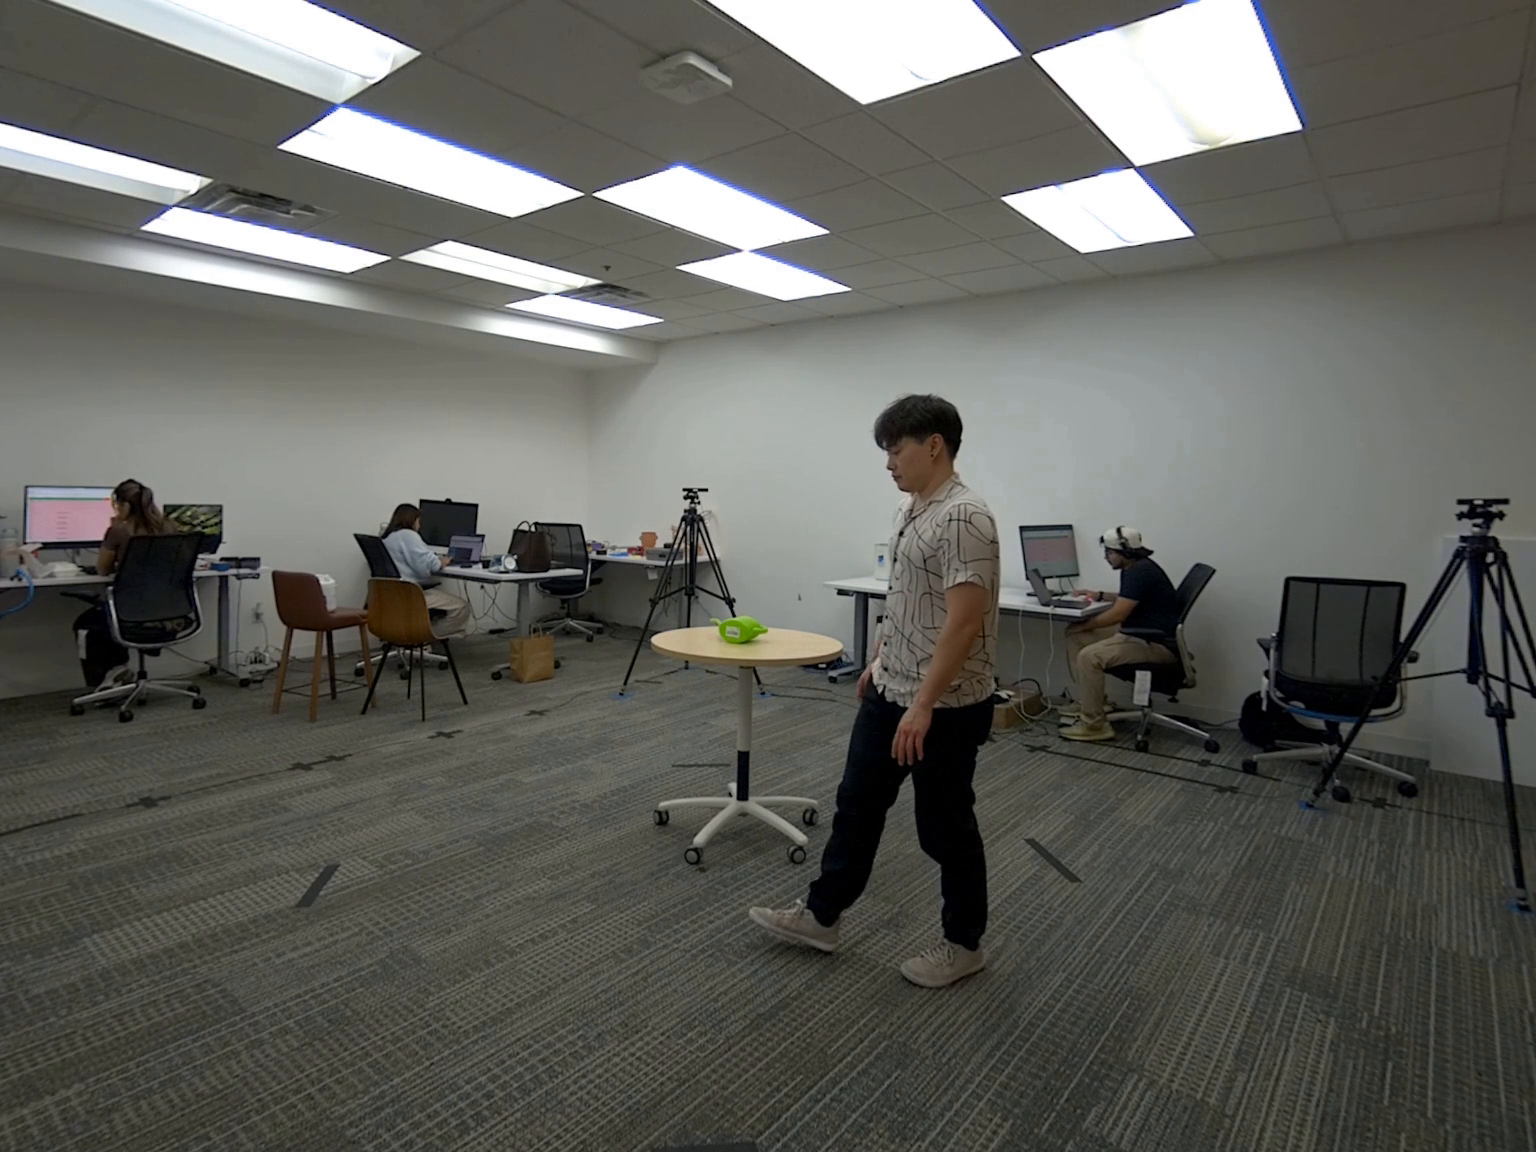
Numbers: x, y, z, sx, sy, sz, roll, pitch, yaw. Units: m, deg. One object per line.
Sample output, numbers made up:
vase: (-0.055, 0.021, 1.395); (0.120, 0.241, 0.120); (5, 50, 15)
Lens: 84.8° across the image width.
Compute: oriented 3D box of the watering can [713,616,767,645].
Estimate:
watering can: (-0.152, 0.214, 3.445); (0.284, 0.098, 0.172); (-7, -1, 27)
